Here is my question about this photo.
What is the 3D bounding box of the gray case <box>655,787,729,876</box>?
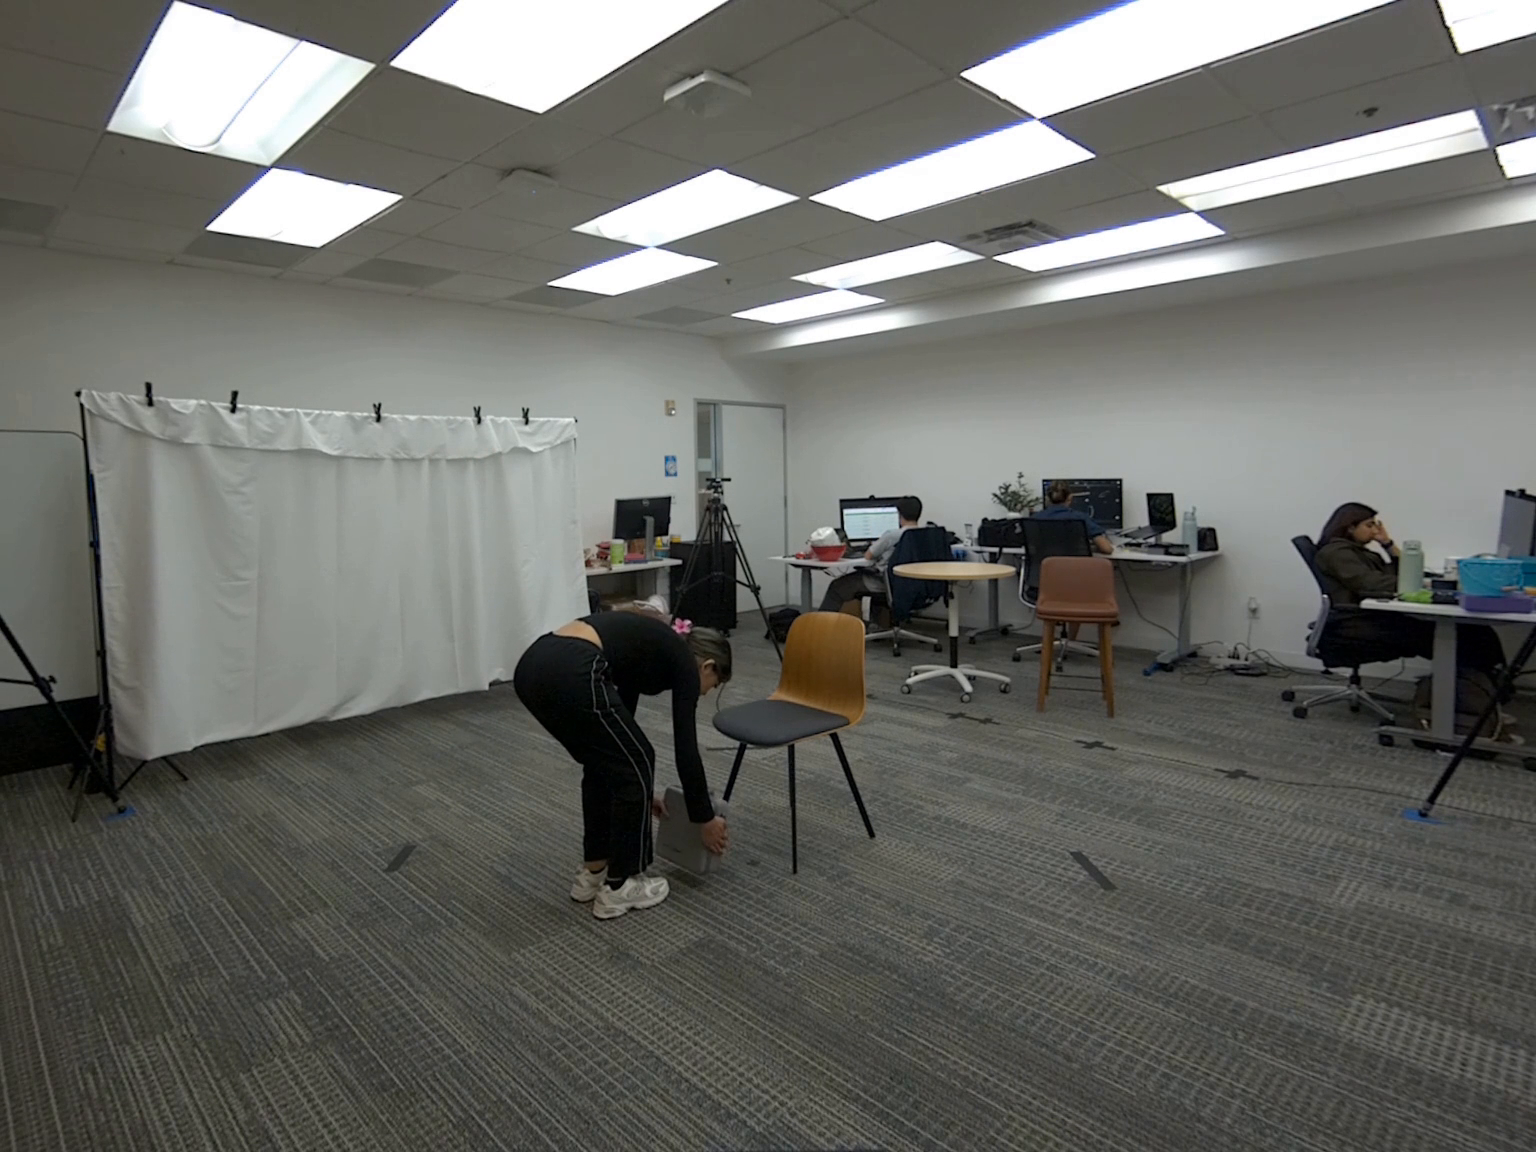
[{"bbox_3d":[-0.267,0.886,3.010,0.265,0.261,0.101,6,-5,44],"label":"gray case"}]
